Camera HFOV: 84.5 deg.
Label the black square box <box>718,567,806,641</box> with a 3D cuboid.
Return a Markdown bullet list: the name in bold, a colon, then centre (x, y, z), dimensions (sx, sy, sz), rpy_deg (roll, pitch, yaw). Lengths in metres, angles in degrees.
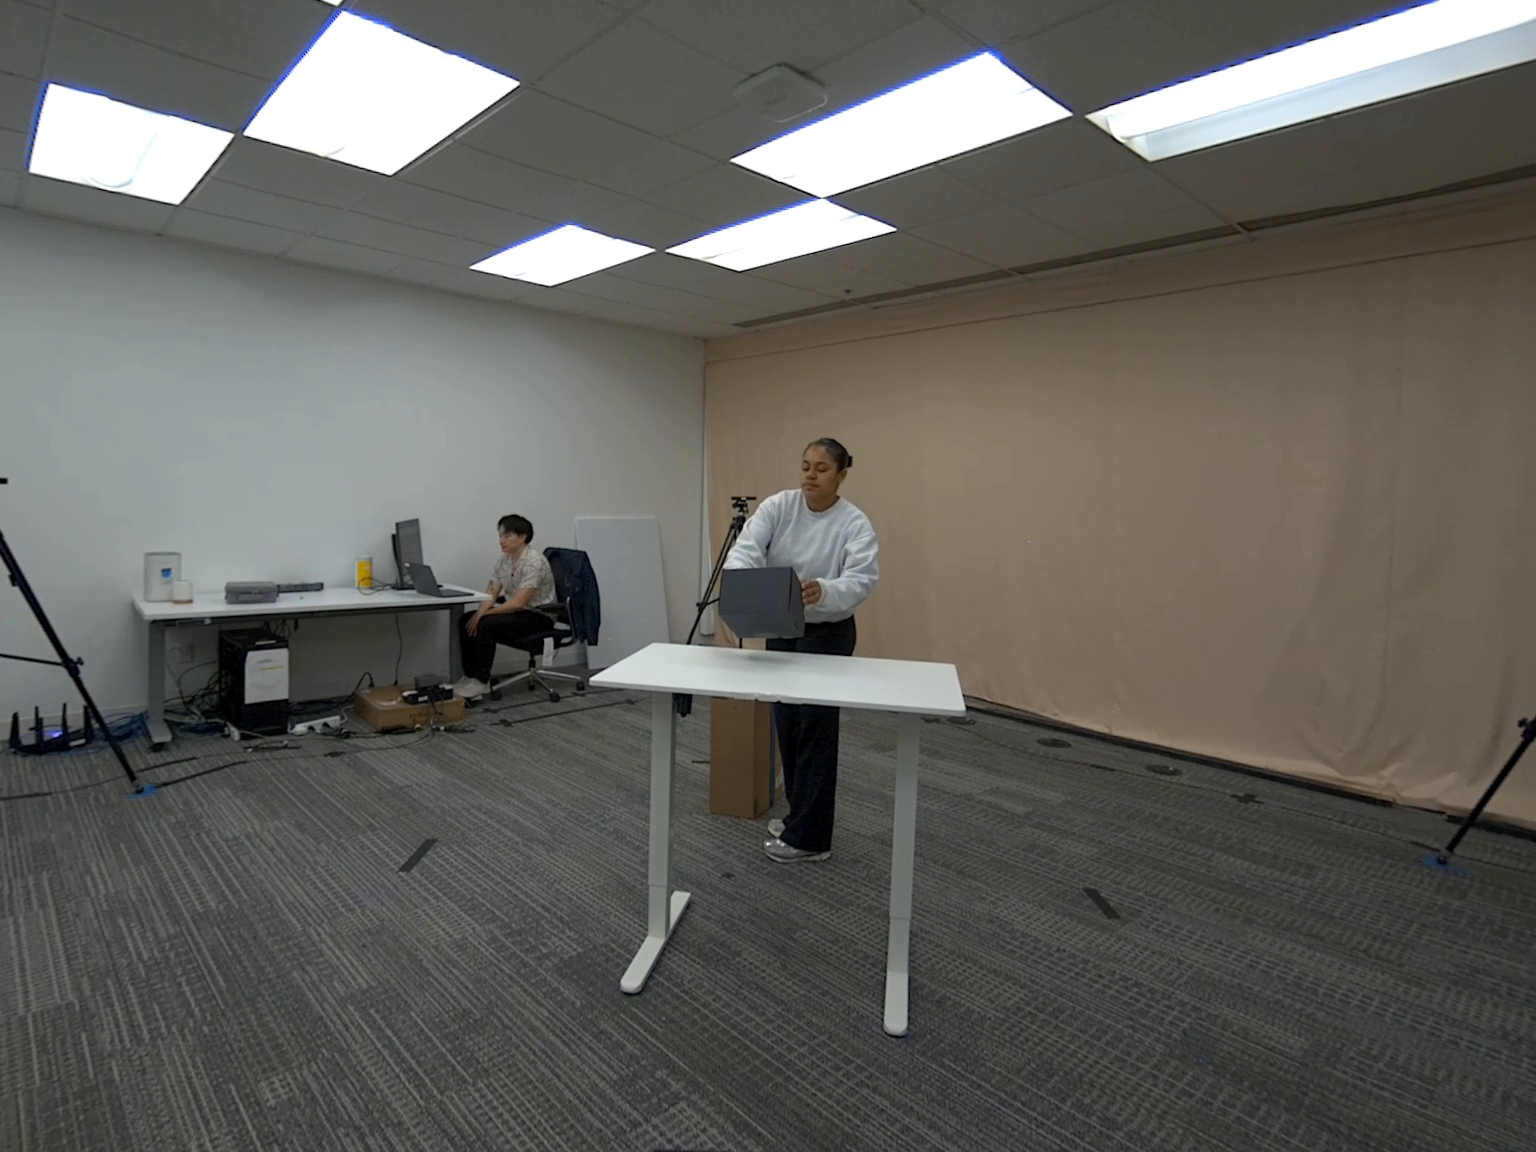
- **black square box**: centre (-0.025, 0.083, 2.675), dimensions (0.231, 0.158, 0.211), rpy_deg (-3, -25, 16)
